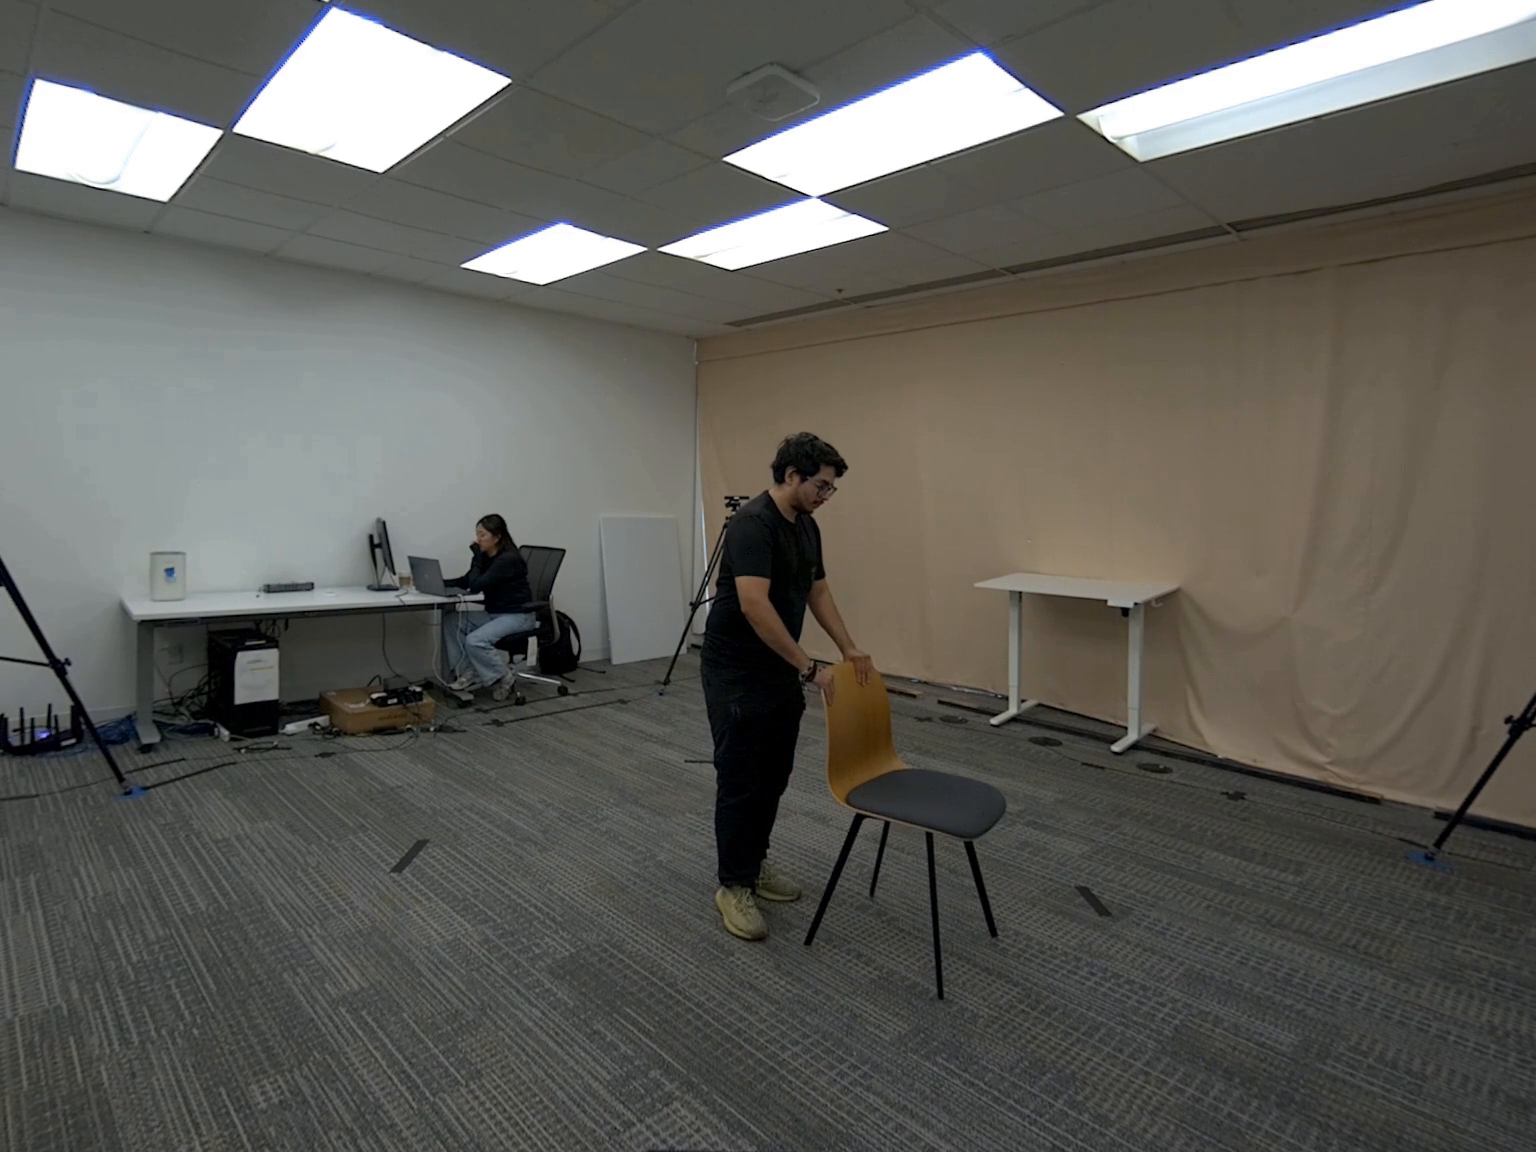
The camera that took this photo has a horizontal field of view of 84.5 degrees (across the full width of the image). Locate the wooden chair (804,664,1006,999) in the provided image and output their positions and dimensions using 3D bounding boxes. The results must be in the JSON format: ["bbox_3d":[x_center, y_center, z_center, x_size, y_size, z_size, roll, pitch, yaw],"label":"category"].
[{"bbox_3d":[0.442,0.733,2.634,0.535,0.877,0.468,-1,1,35],"label":"wooden chair"}]
